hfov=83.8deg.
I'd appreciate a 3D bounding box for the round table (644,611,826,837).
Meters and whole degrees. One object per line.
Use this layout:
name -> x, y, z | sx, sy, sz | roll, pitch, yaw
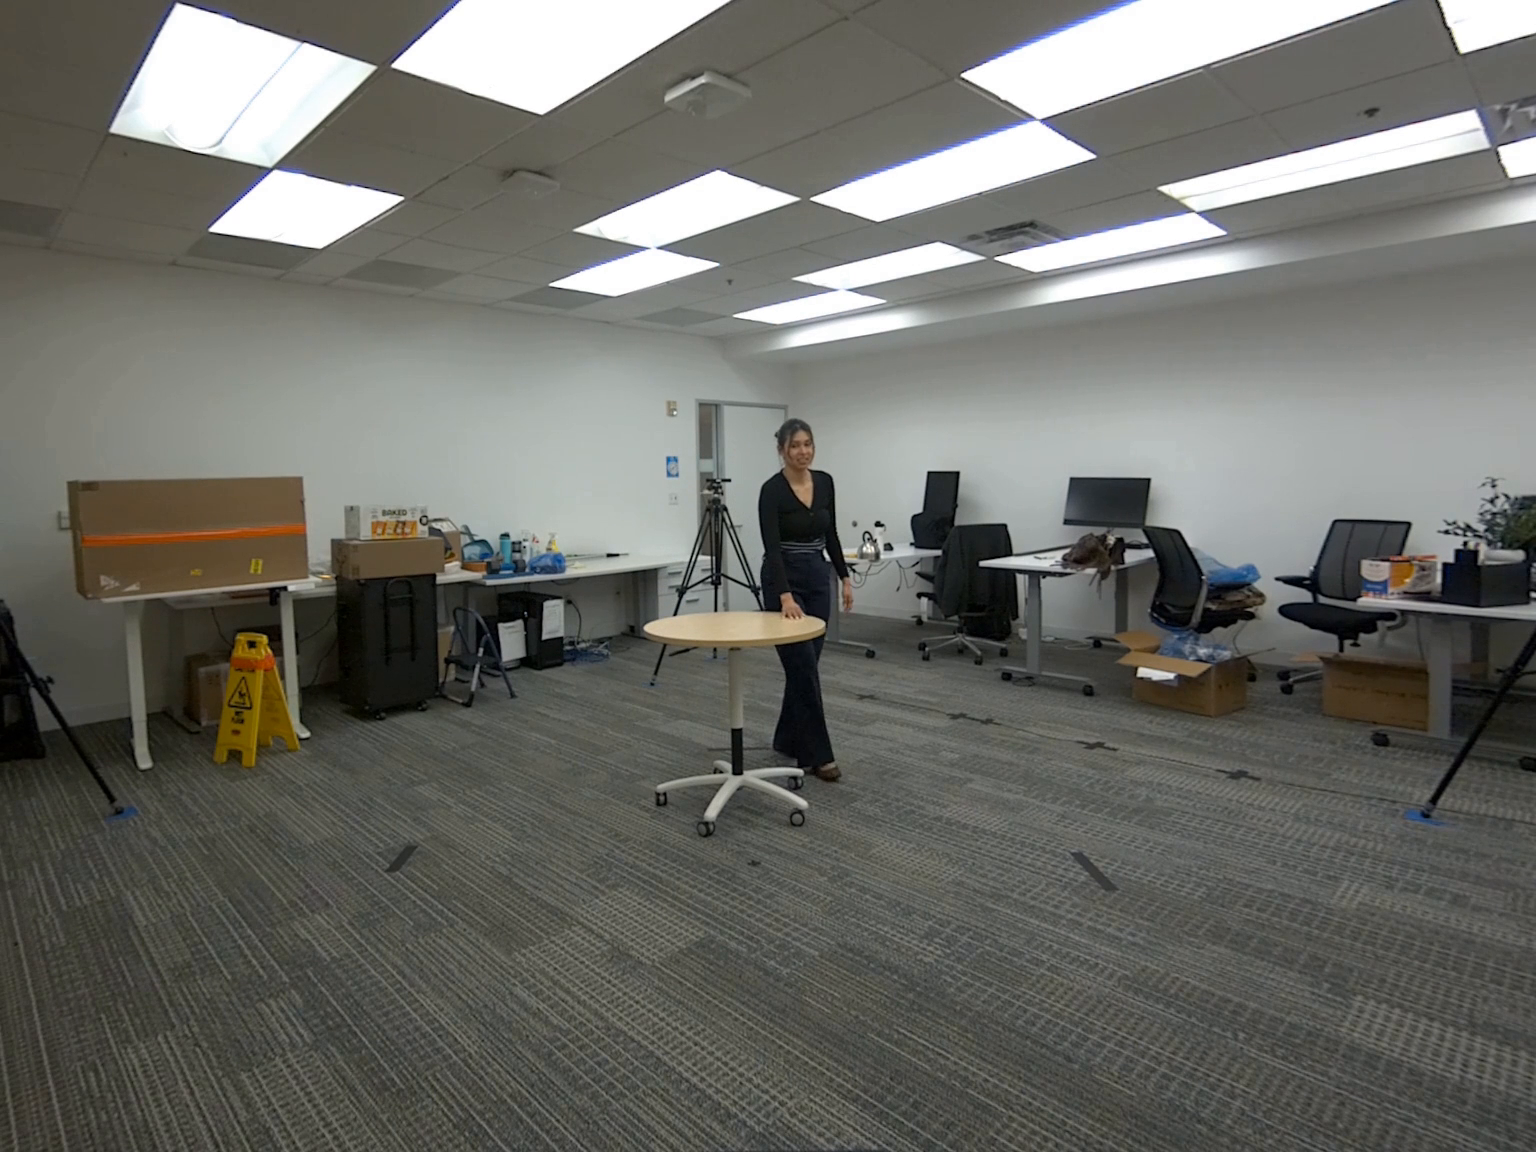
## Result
round table -> -0.131, 0.597, 3.630 | 0.763, 0.791, 0.767 | -1, 4, -2
